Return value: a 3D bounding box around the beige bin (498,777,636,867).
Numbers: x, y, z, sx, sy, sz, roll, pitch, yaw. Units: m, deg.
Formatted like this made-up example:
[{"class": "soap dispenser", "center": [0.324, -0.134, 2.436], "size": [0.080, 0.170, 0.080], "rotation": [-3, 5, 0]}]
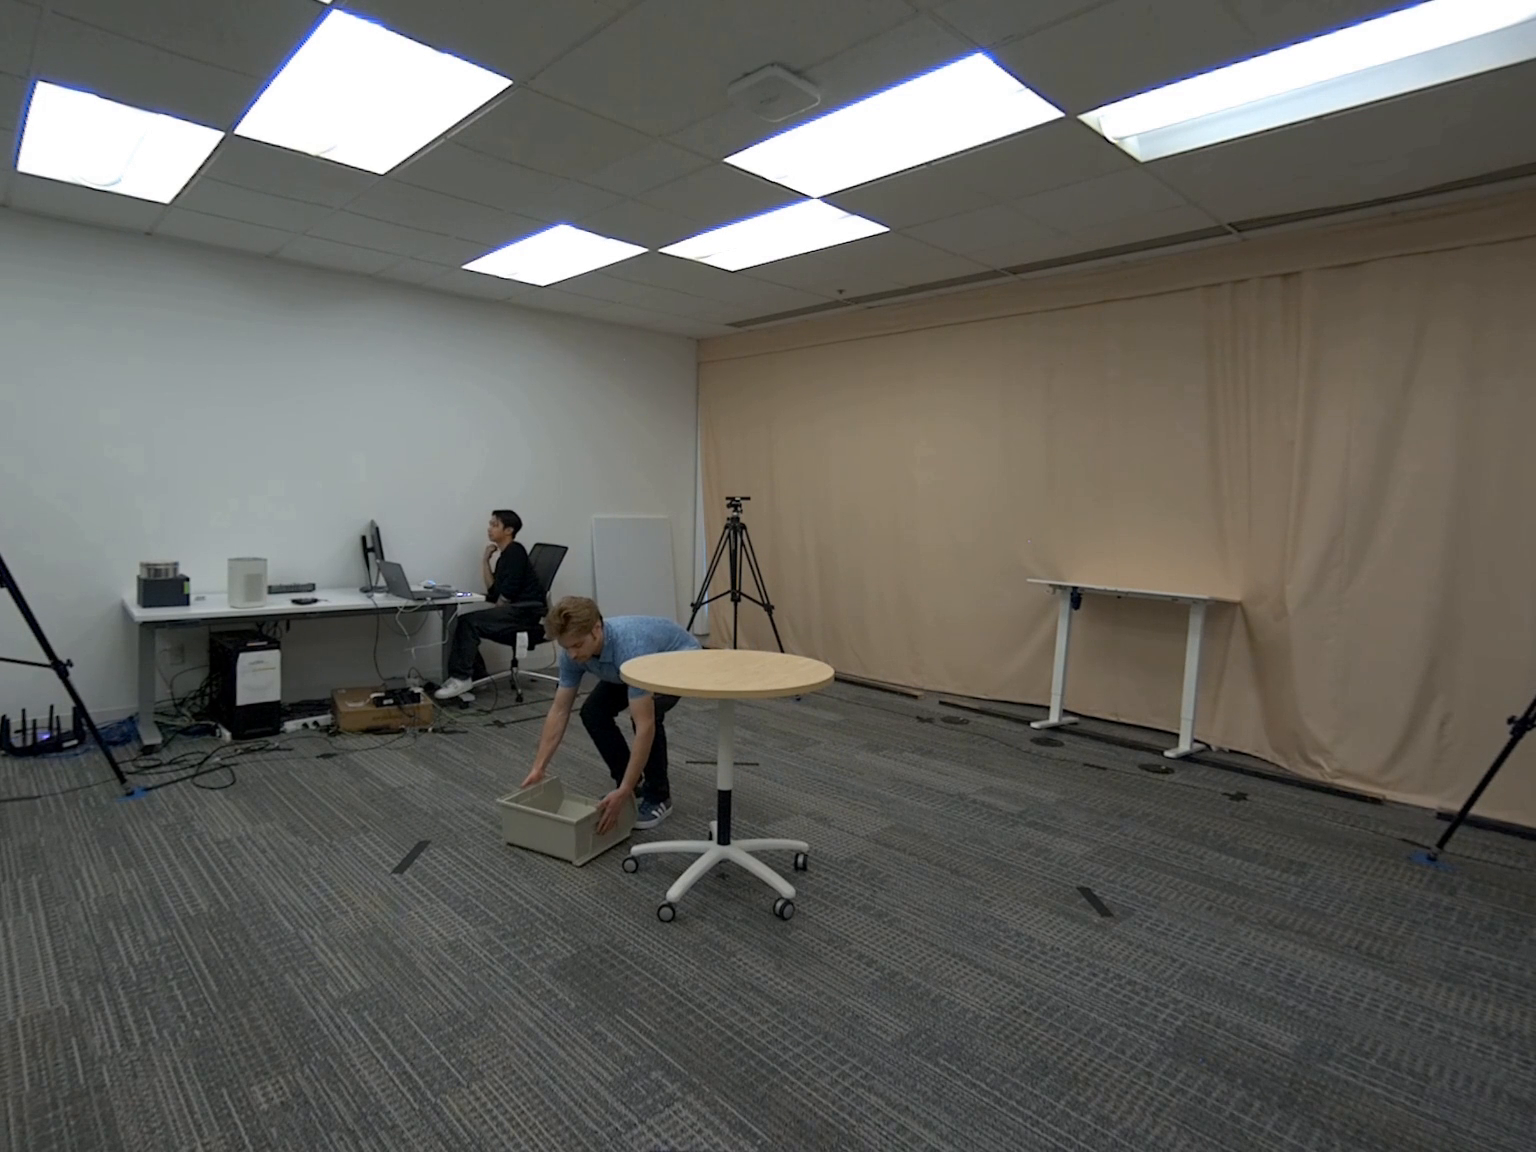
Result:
[{"class": "beige bin", "center": [-0.810, 0.963, 3.387], "size": [0.432, 0.188, 0.371], "rotation": [4, 9, 31]}]
